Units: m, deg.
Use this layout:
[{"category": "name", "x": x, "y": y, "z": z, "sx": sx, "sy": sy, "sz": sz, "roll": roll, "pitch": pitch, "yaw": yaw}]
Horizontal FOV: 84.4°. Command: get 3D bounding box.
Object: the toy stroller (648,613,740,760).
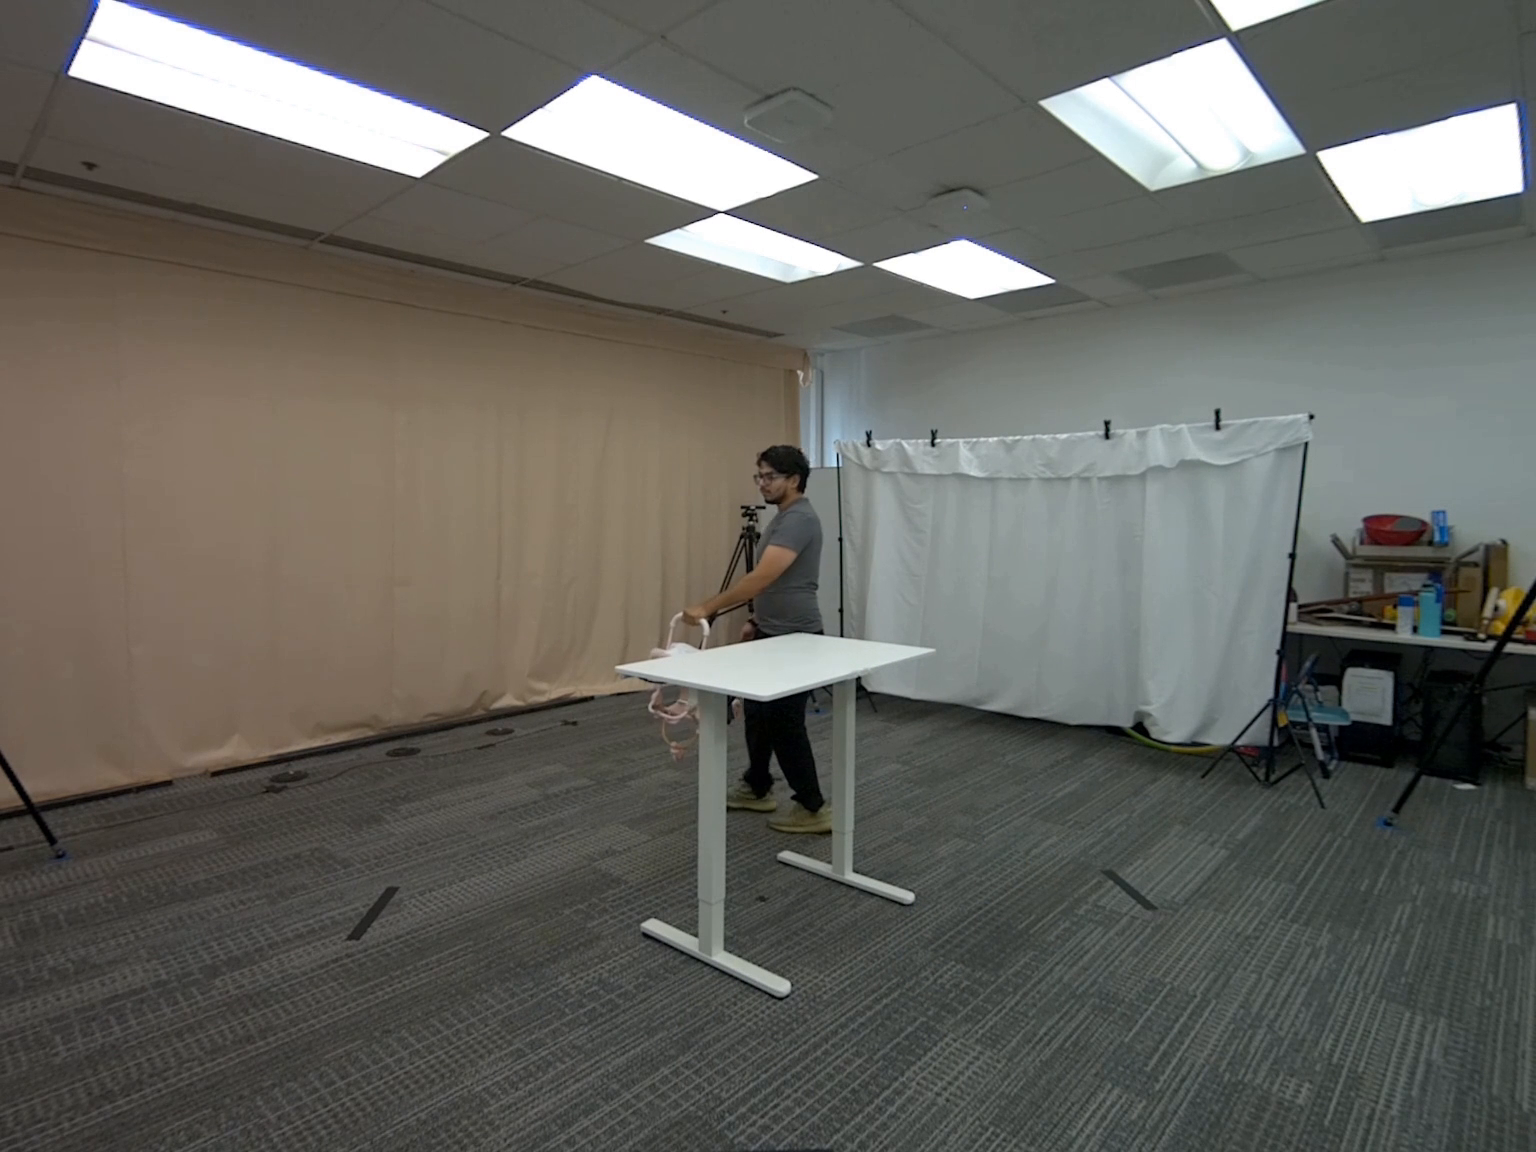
[{"category": "toy stroller", "x": -0.336, "y": 0.471, "z": 3.435, "sx": 0.291, "sy": 0.523, "sz": 0.336, "roll": 14, "pitch": 39, "yaw": 42}]
